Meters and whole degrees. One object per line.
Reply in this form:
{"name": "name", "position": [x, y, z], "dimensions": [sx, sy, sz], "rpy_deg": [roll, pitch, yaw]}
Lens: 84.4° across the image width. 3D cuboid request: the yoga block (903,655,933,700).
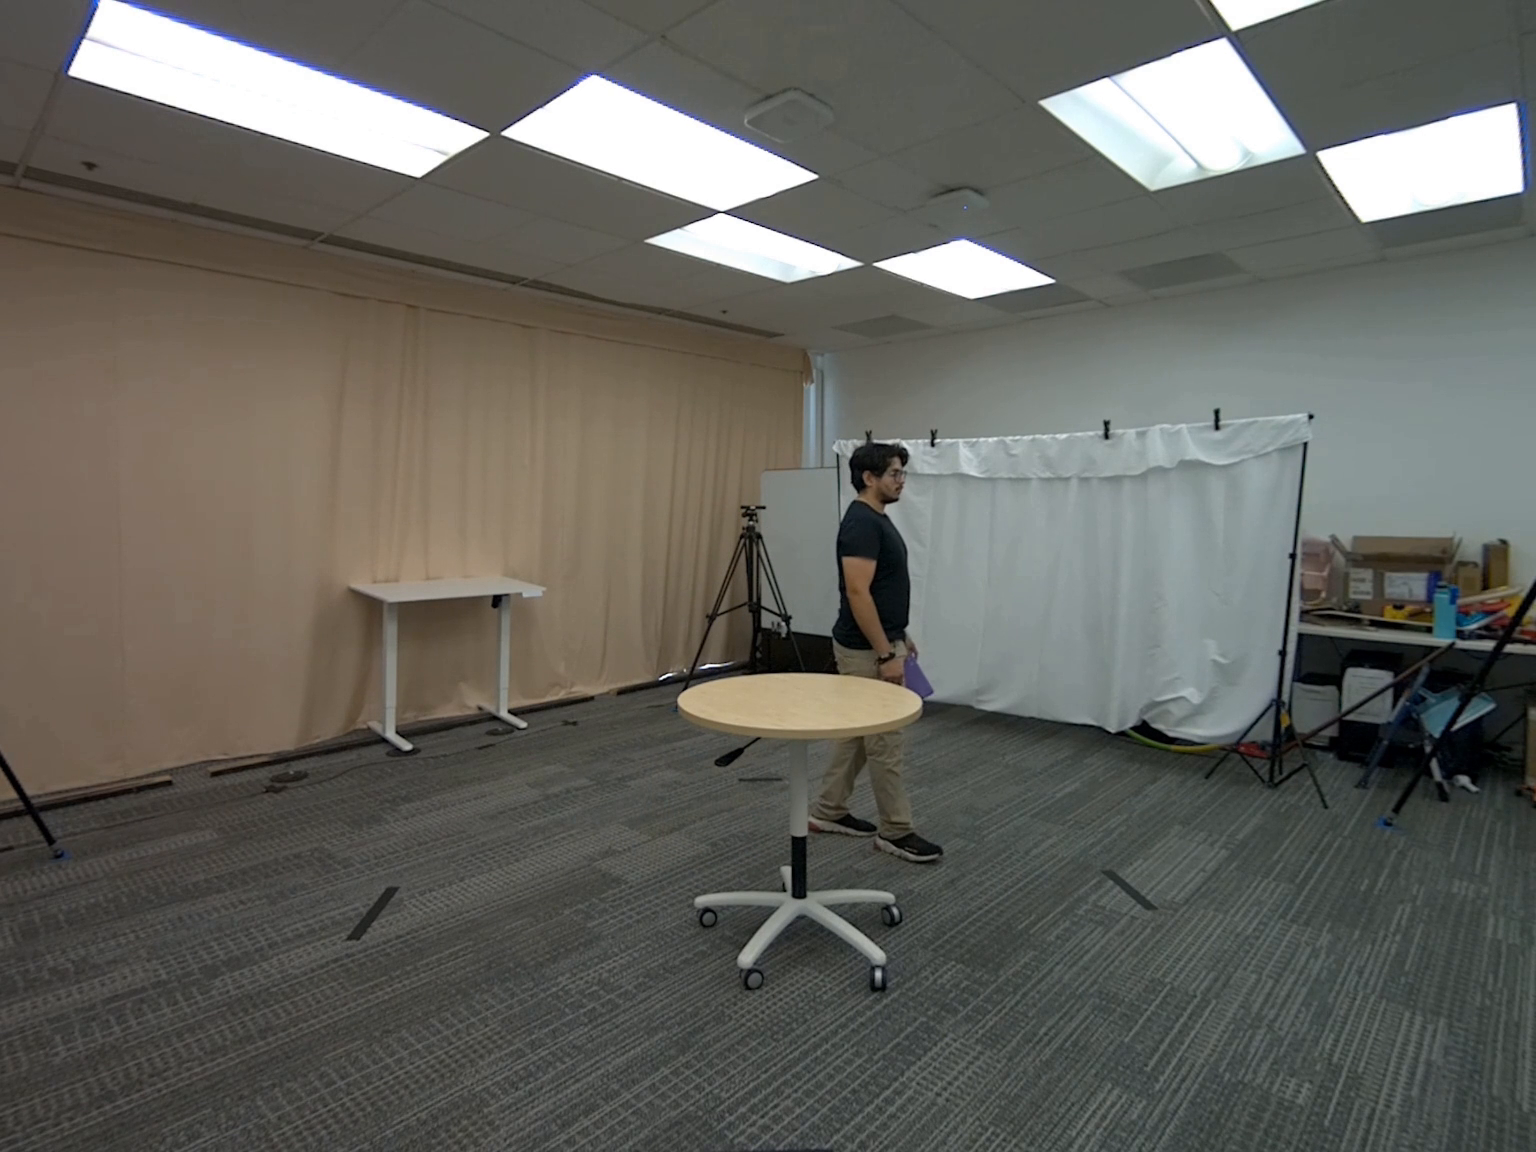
{"name": "yoga block", "position": [0.622, 0.445, 3.694], "dimensions": [0.149, 0.232, 0.075], "rpy_deg": [-29, -11, -2]}
